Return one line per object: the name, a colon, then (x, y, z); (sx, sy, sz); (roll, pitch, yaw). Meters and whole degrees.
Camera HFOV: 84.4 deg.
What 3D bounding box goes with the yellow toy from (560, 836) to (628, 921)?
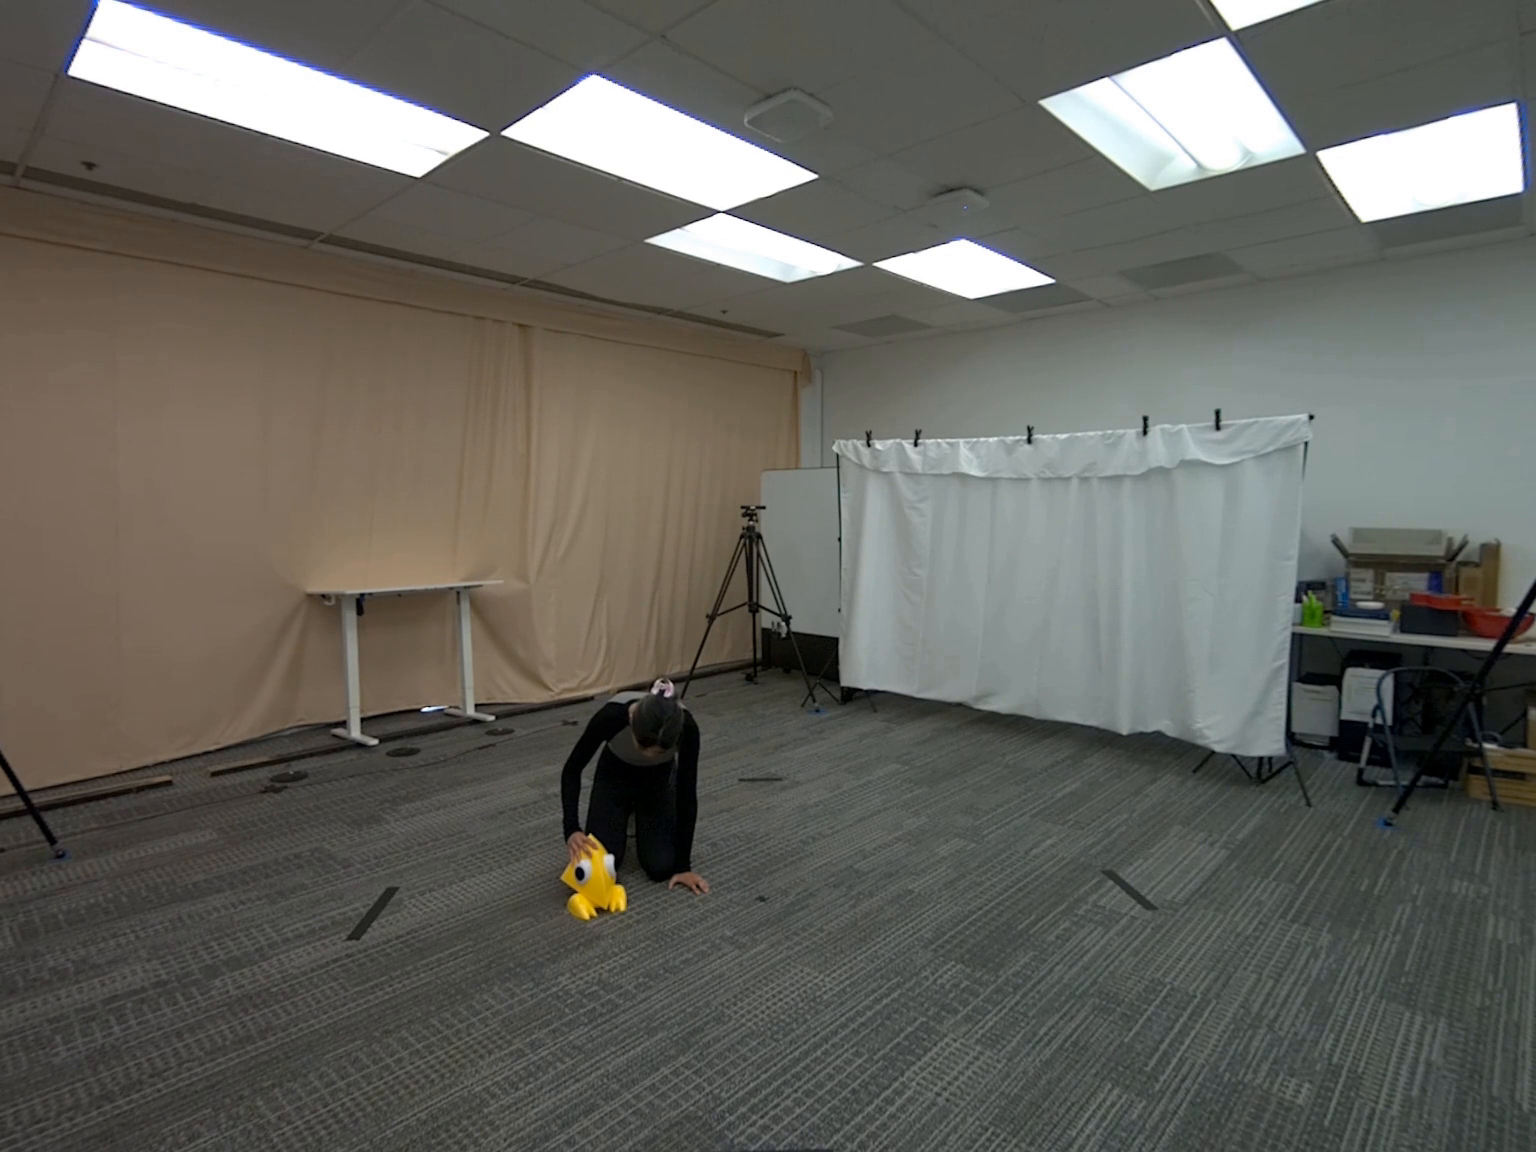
yellow toy: (-0.604, 1.032, 2.944); (0.199, 0.230, 0.198); (-2, 4, -29)
